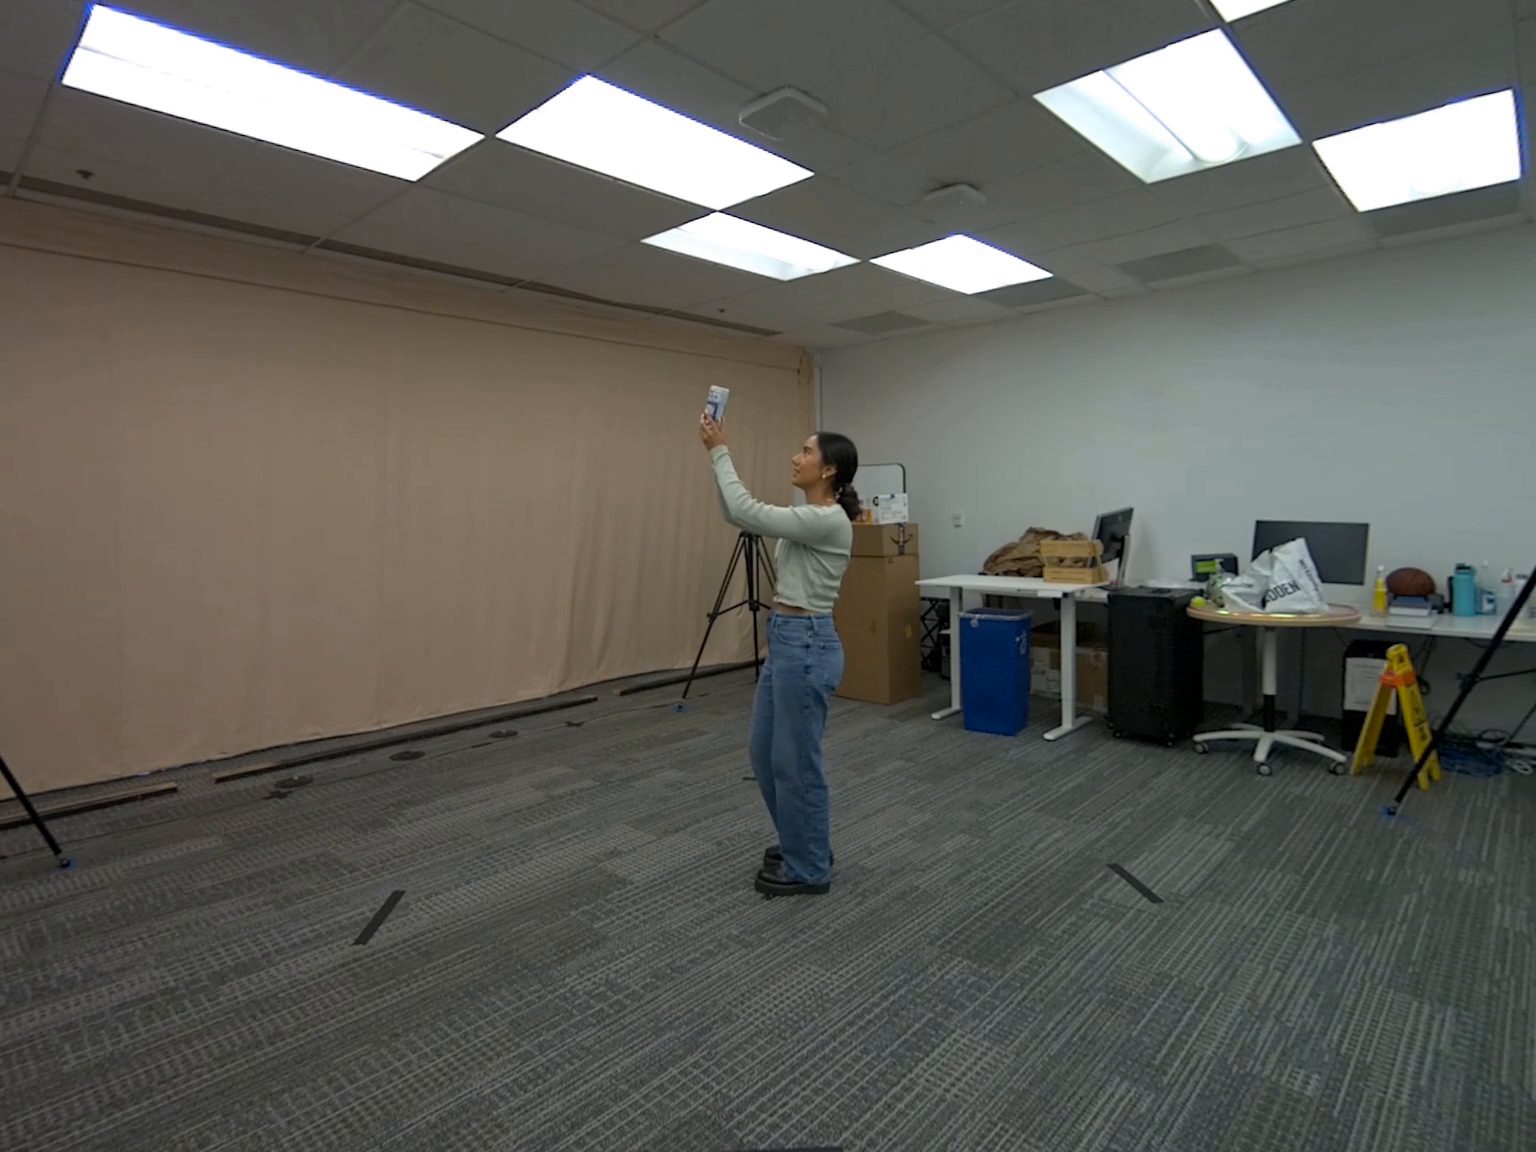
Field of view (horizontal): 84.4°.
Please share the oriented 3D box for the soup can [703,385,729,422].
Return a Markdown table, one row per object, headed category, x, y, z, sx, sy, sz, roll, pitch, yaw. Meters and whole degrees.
| category | x | y | z | sx | sy | sz | roll | pitch | yaw |
| --- | --- | --- | --- | --- | --- | --- | --- | --- | --- |
| soup can | -0.173 | -0.598 | 2.941 | 0.067 | 0.121 | 0.067 | 10 | 9 | -4 |
